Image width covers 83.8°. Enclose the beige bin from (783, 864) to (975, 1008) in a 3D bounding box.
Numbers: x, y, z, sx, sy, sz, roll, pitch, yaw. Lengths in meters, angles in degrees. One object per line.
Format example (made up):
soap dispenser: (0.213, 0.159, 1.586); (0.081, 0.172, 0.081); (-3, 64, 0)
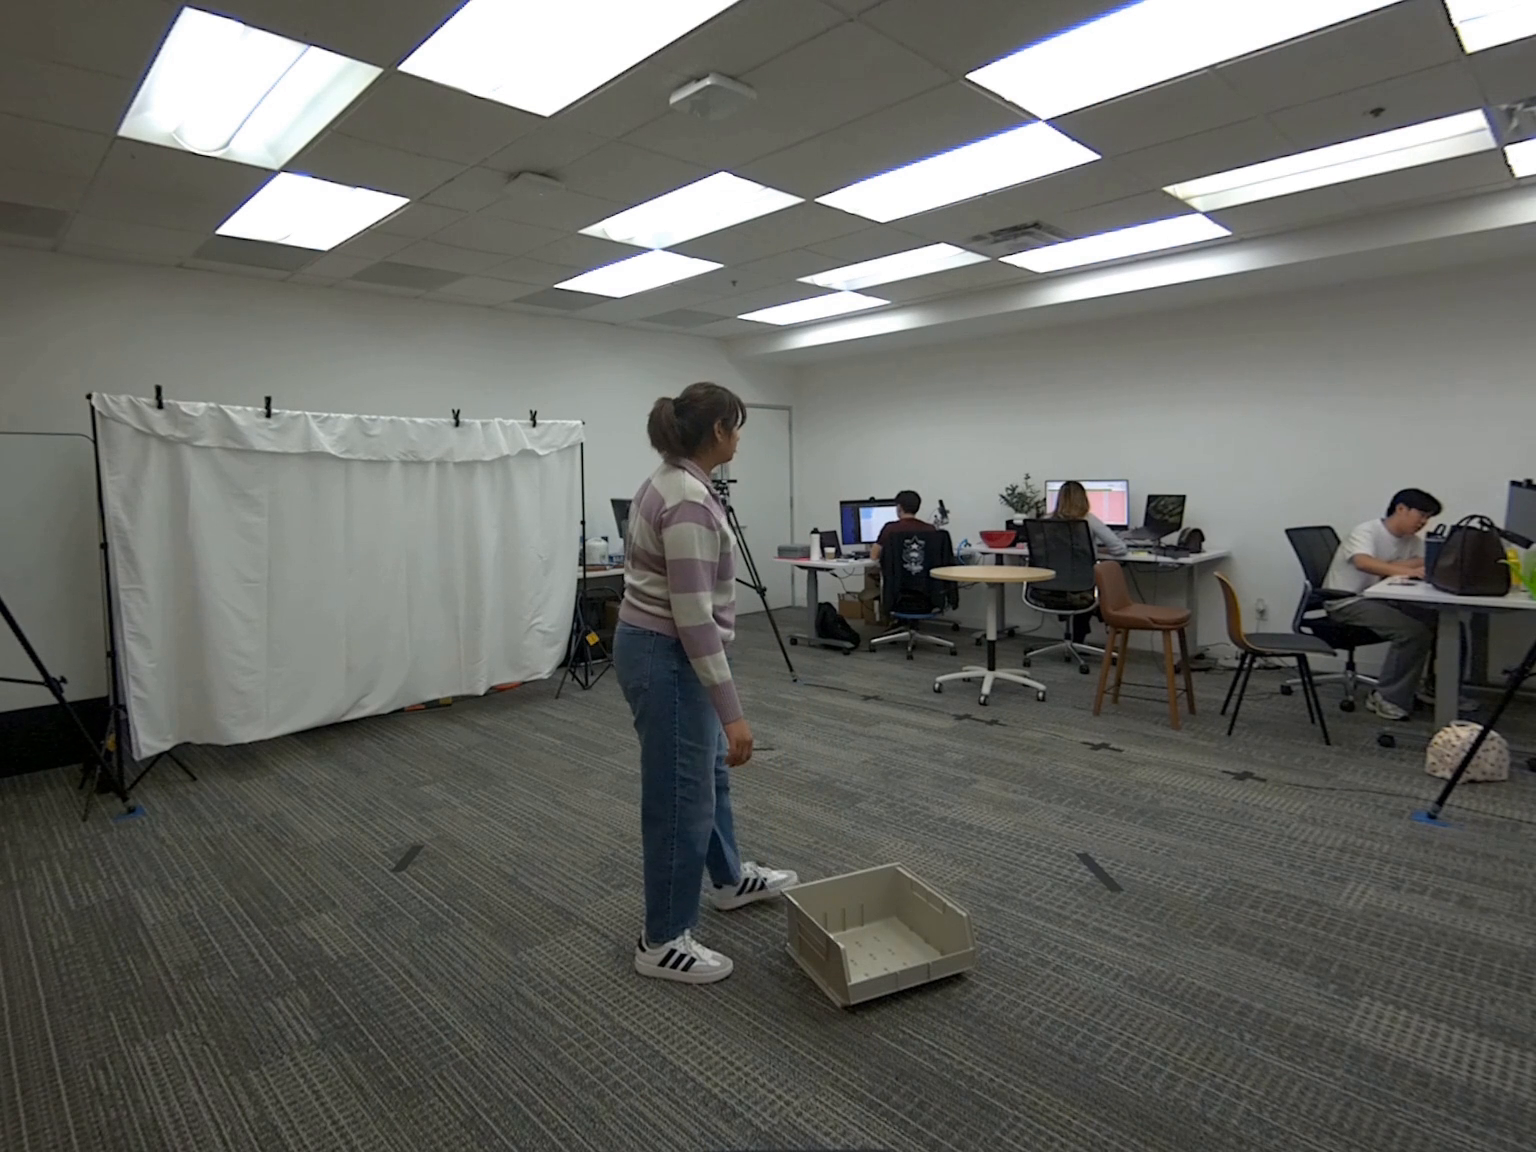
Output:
beige bin: (0.312, 1.024, 2.453); (0.414, 0.188, 0.386); (-4, 6, -25)
